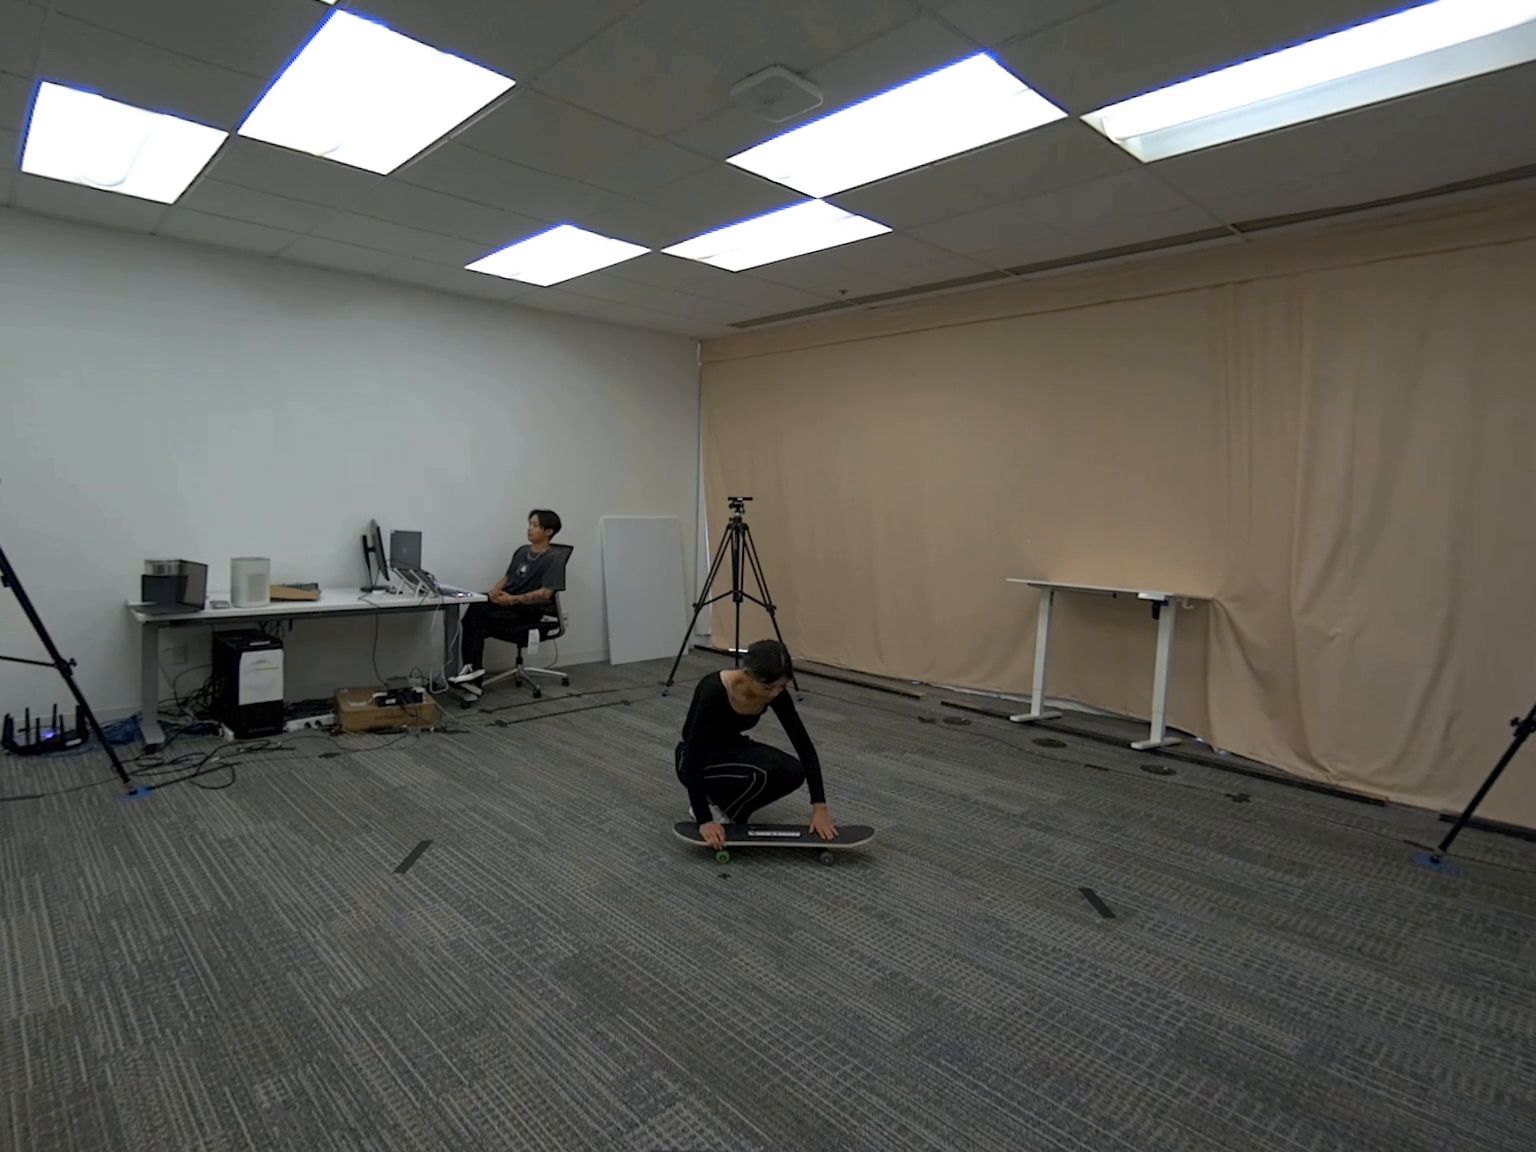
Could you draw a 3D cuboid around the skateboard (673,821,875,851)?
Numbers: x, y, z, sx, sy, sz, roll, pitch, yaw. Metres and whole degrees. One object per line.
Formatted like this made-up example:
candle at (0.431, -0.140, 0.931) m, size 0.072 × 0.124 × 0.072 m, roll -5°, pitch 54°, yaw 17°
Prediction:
skateboard at (0.021, 1.034, 3.288) m, size 0.785 × 0.110 × 0.194 m, roll 0°, pitch 4°, yaw 0°
